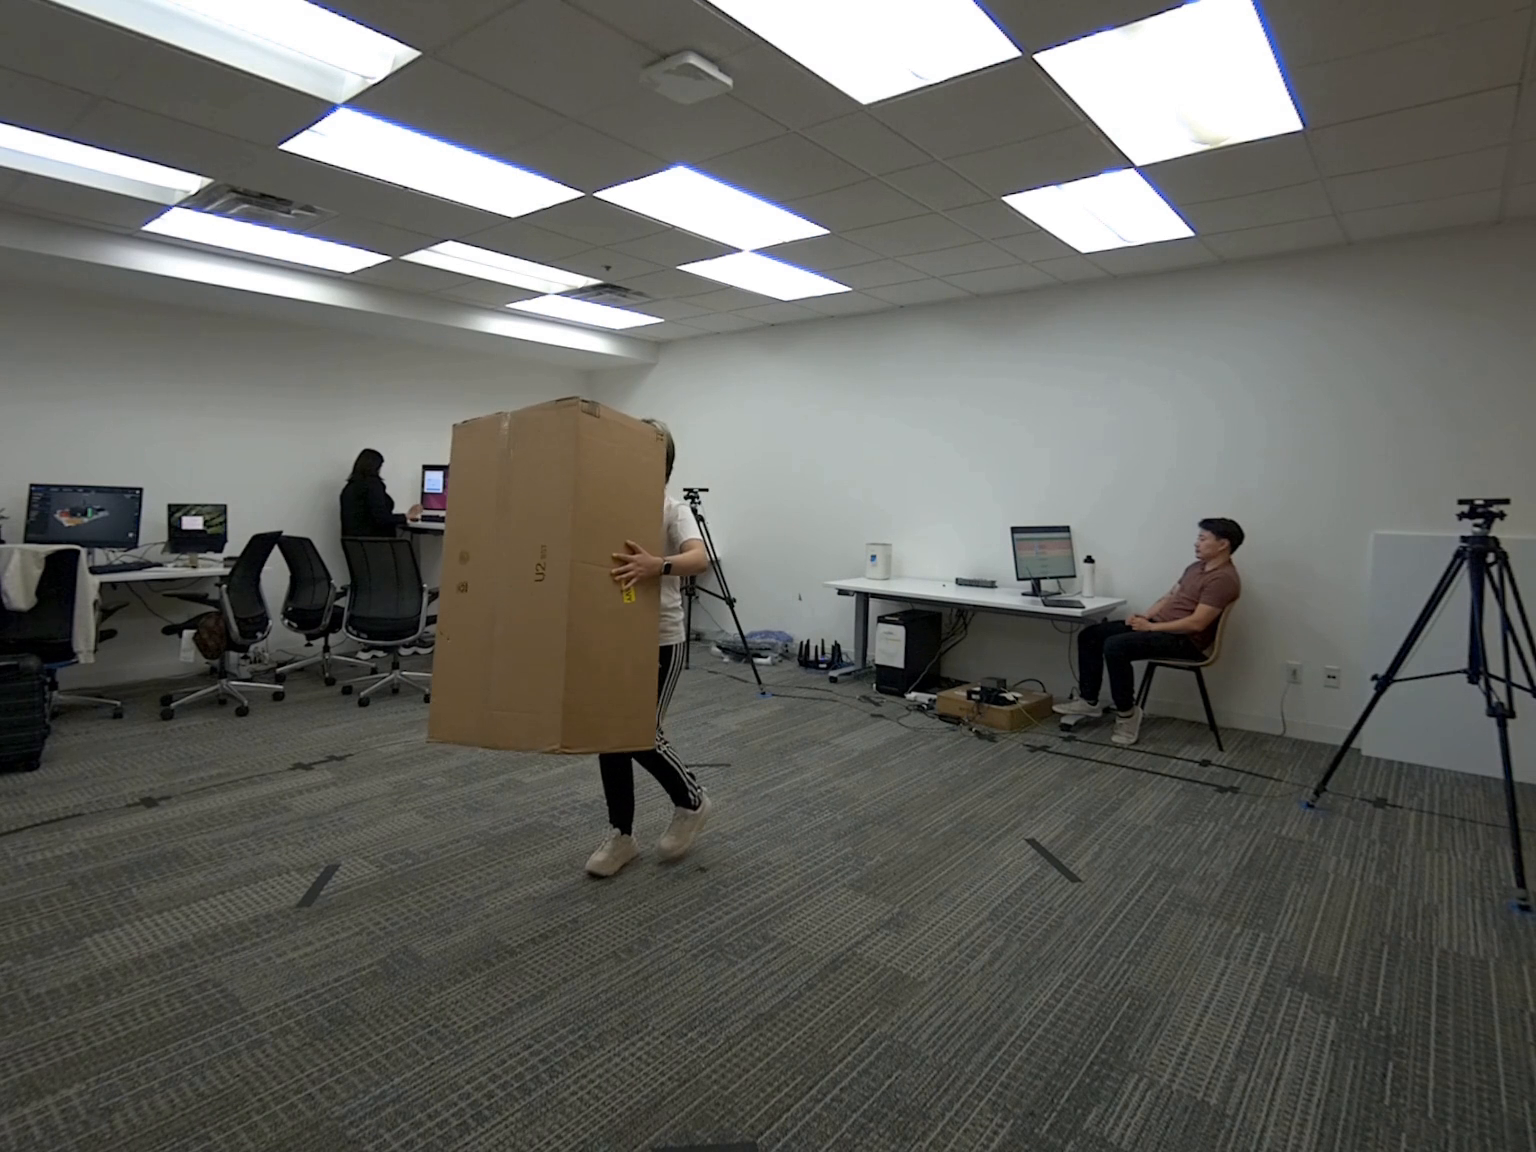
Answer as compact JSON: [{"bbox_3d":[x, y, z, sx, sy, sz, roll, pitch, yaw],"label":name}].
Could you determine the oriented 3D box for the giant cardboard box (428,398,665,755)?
[{"bbox_3d":[-0.701,0.021,2.713,0.599,1.037,0.431,-5,-11,32],"label":"giant cardboard box"}]
